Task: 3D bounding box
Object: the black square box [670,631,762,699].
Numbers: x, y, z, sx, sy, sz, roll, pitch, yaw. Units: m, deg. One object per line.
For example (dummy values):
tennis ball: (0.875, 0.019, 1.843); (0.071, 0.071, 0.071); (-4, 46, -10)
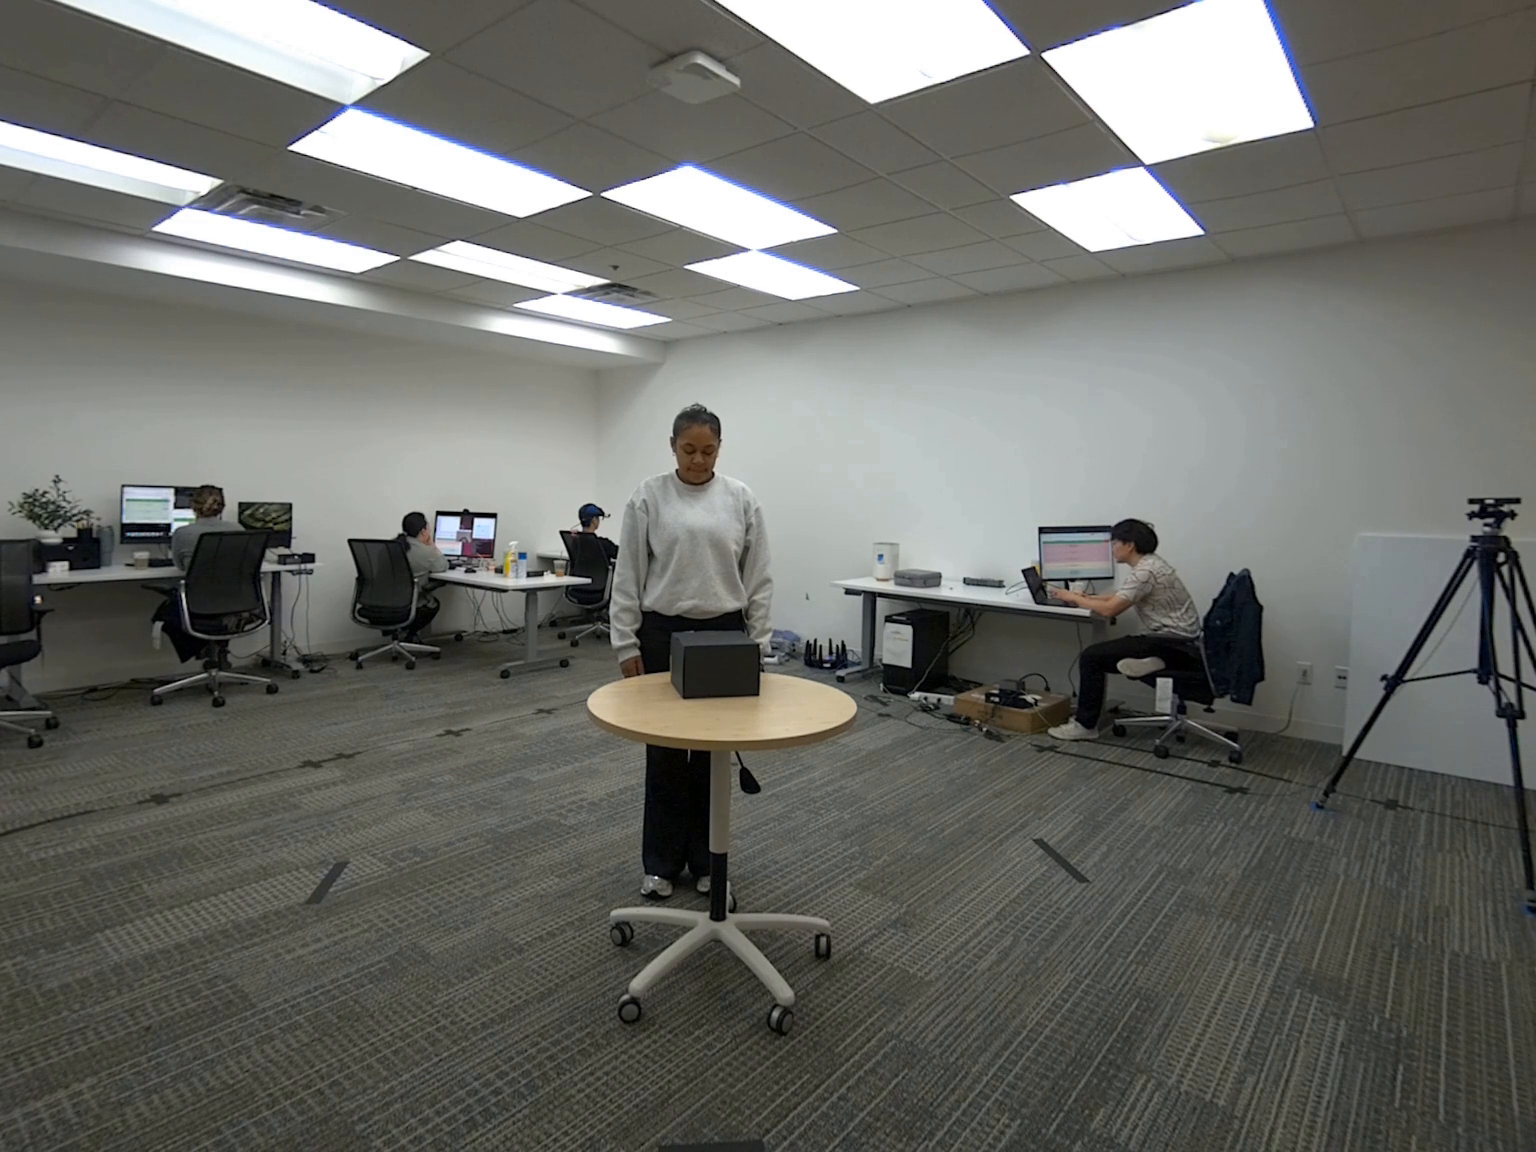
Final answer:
black square box: (-0.173, 0.257, 2.555); (0.224, 0.155, 0.221); (-1, 5, -15)
